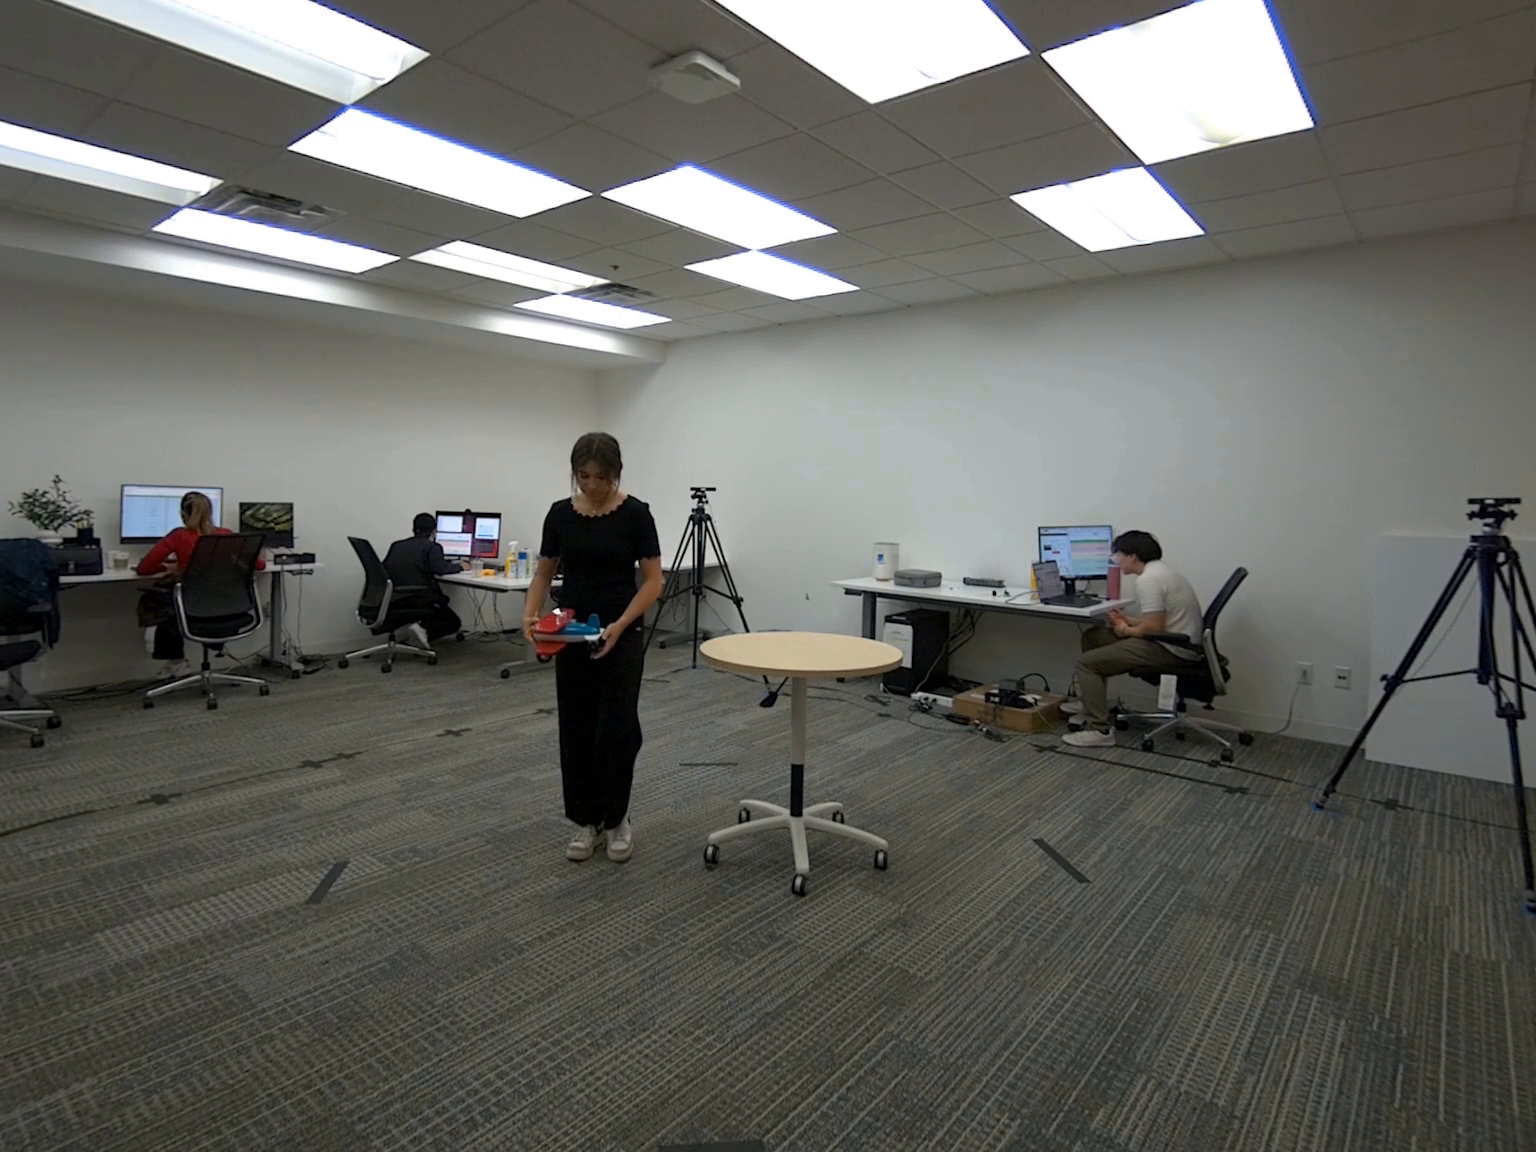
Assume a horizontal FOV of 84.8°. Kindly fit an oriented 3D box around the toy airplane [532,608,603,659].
[{"bbox_3d":[-0.732,0.201,3.066,0.256,0.154,0.257,-19,13,-17],"label":"toy airplane"}]
